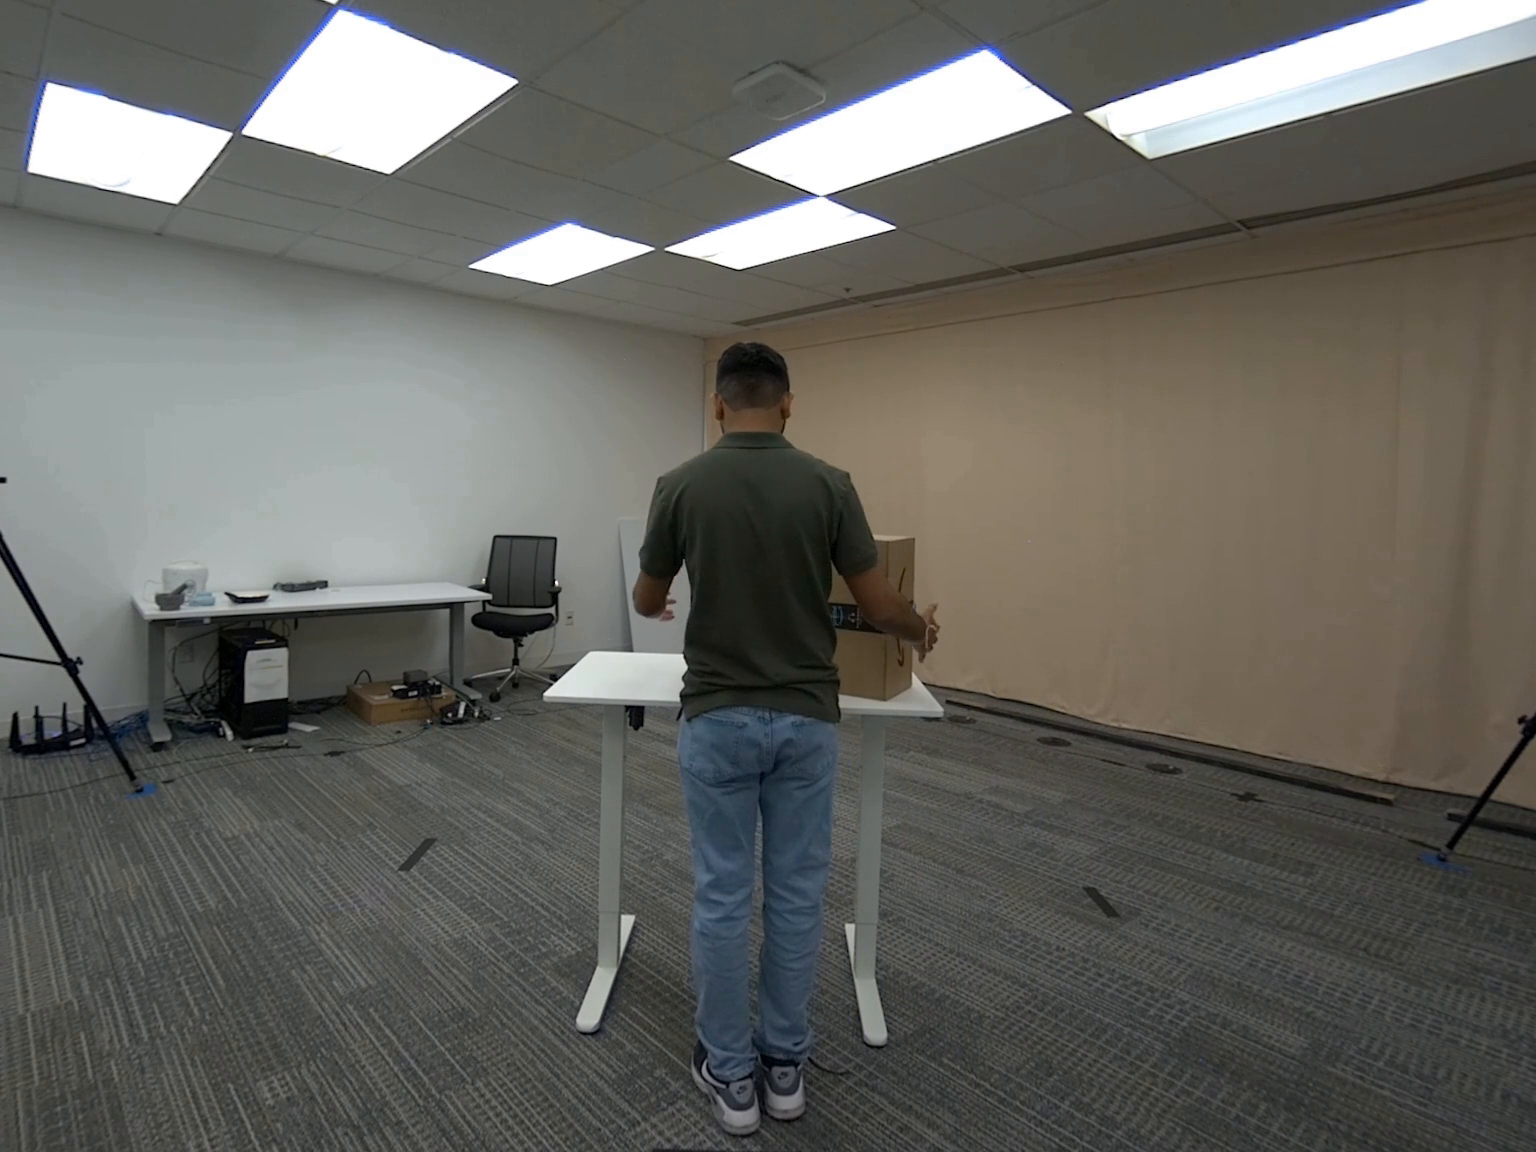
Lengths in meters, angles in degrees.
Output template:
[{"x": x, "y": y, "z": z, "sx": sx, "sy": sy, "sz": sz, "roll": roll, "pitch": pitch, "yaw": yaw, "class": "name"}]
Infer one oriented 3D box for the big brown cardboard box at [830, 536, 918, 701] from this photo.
[{"x": 0.101, "y": 0.091, "z": 2.373, "sx": 0.602, "sy": 0.416, "sz": 0.229, "roll": 5, "pitch": 6, "yaw": 30, "class": "big brown cardboard box"}]
